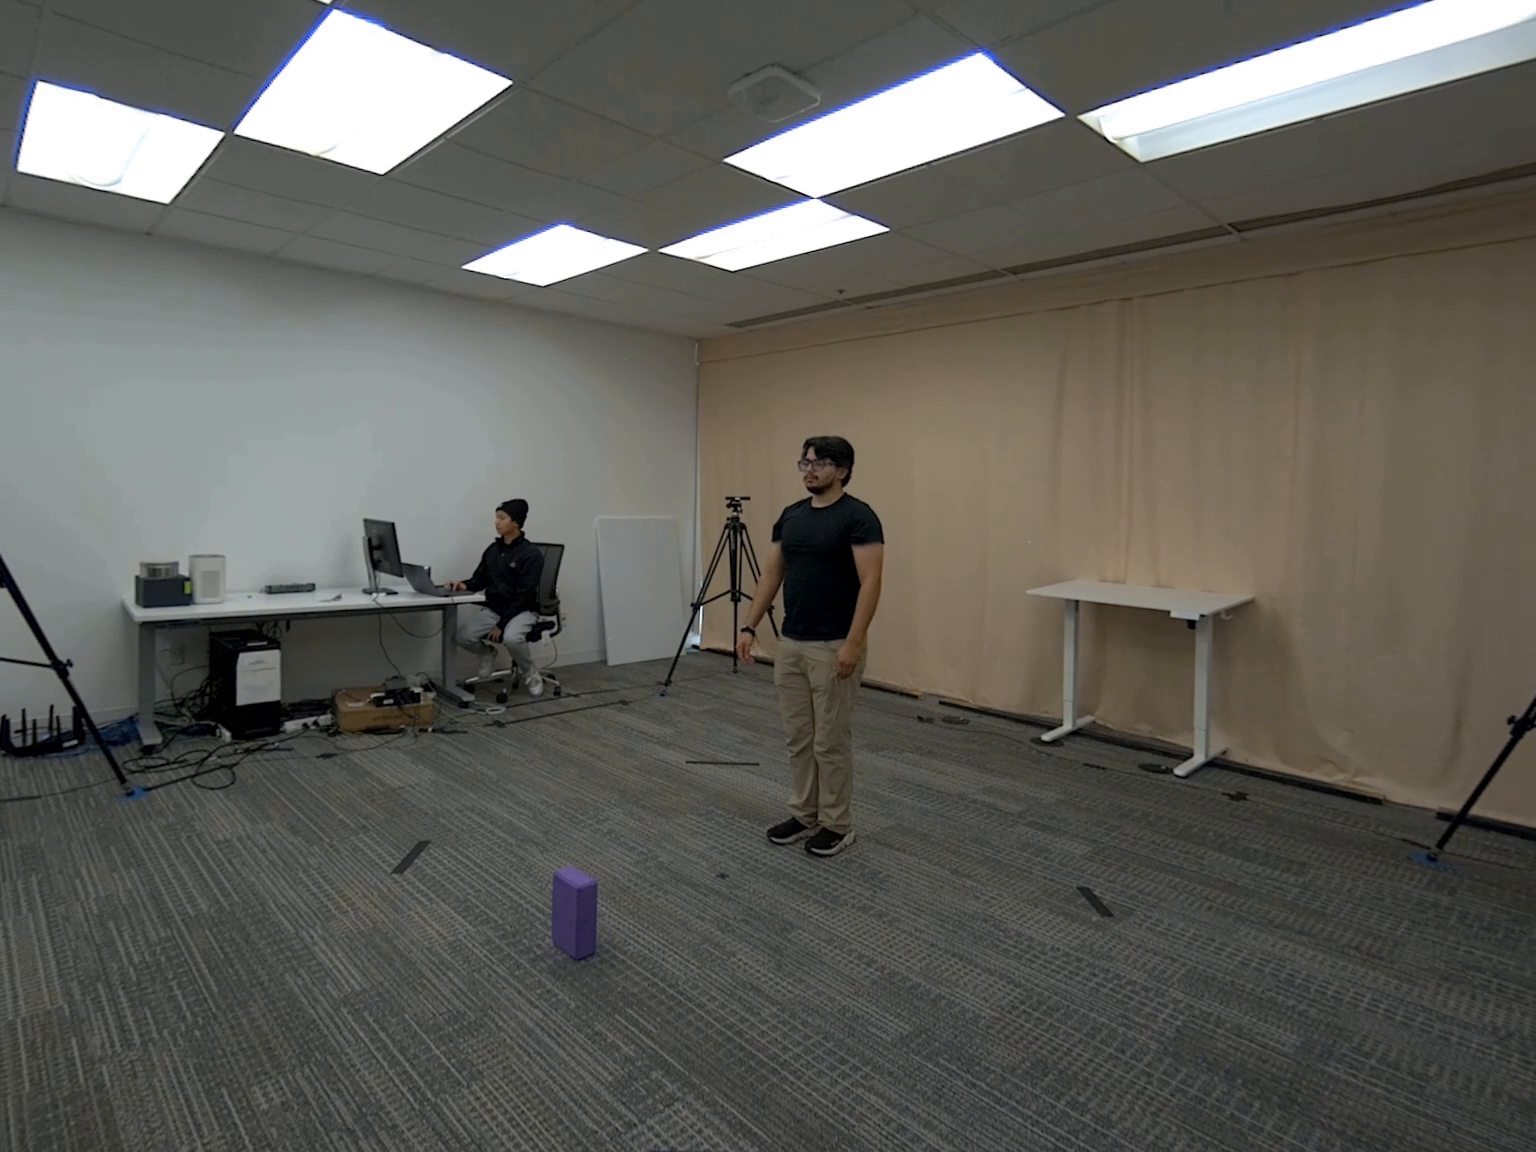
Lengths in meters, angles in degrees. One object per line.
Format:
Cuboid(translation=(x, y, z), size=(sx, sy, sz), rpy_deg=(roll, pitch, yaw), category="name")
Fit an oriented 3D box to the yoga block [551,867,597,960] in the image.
Cuboid(translation=(-0.600, 1.032, 2.572), size=(0.153, 0.229, 0.075), rpy_deg=(4, 4, 45), category="yoga block")
